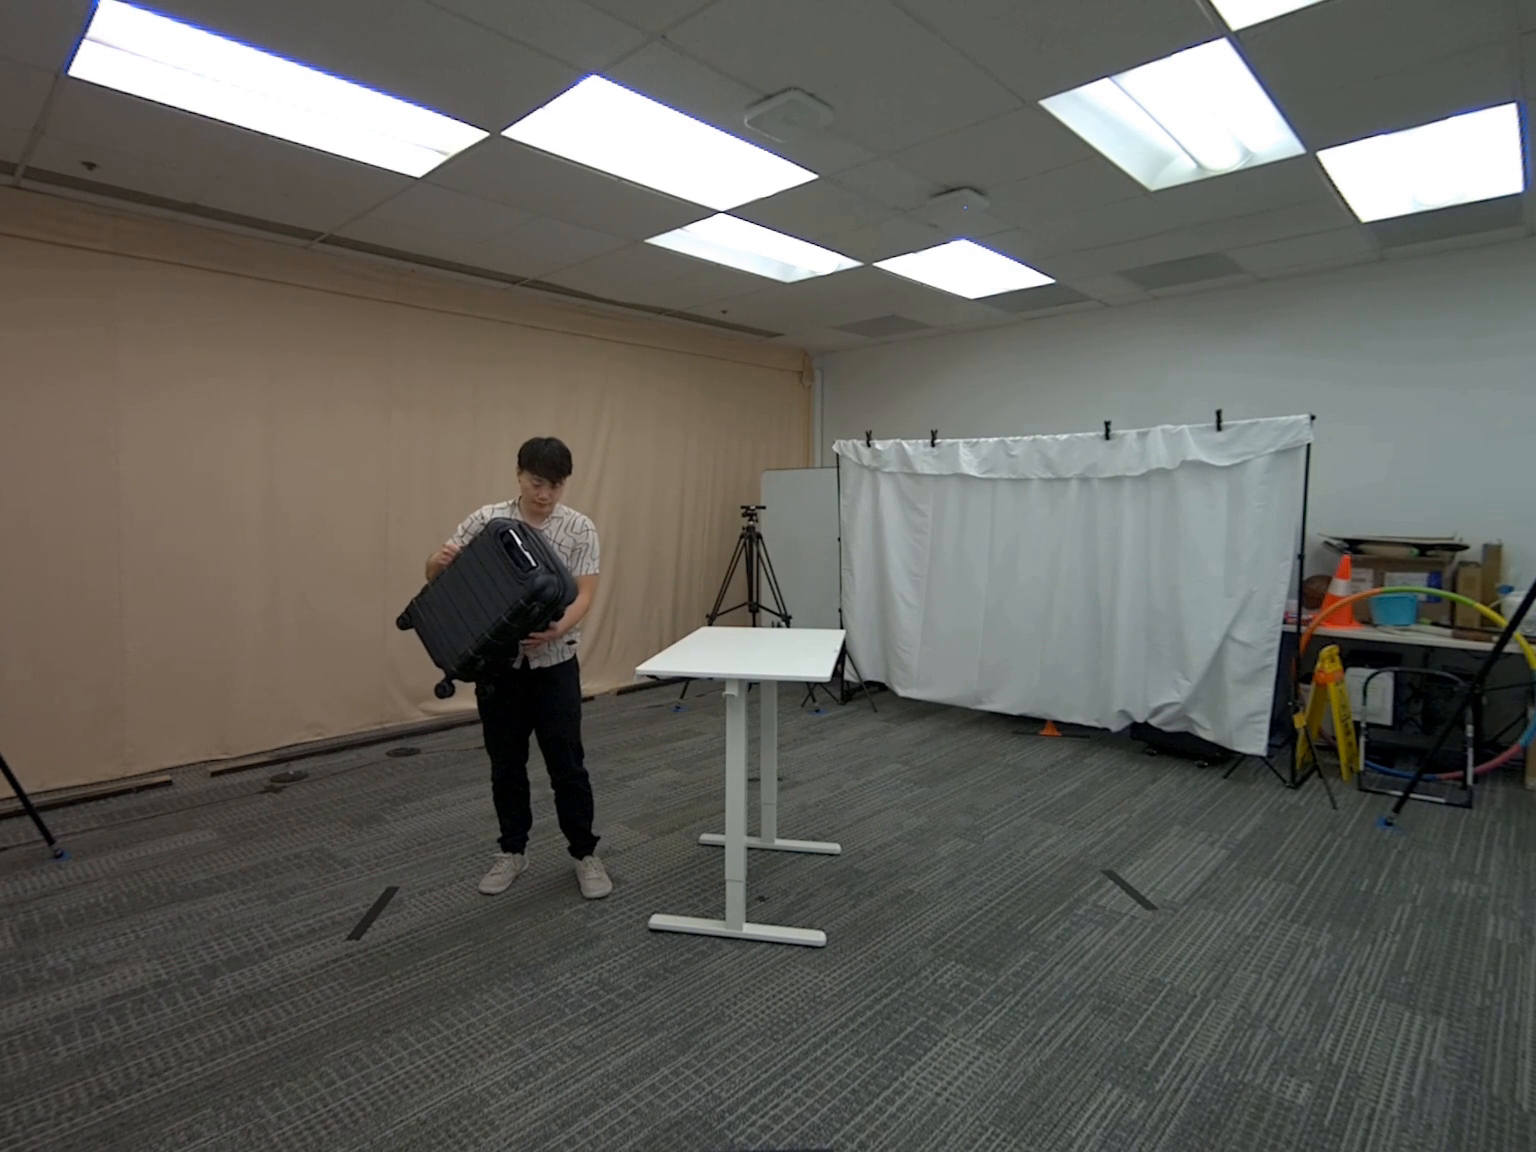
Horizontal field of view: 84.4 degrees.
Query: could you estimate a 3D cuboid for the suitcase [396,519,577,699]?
[{"bbox_3d":[-0.923,0.089,2.827,0.385,0.551,0.241,49,10,22],"label":"suitcase"}]
